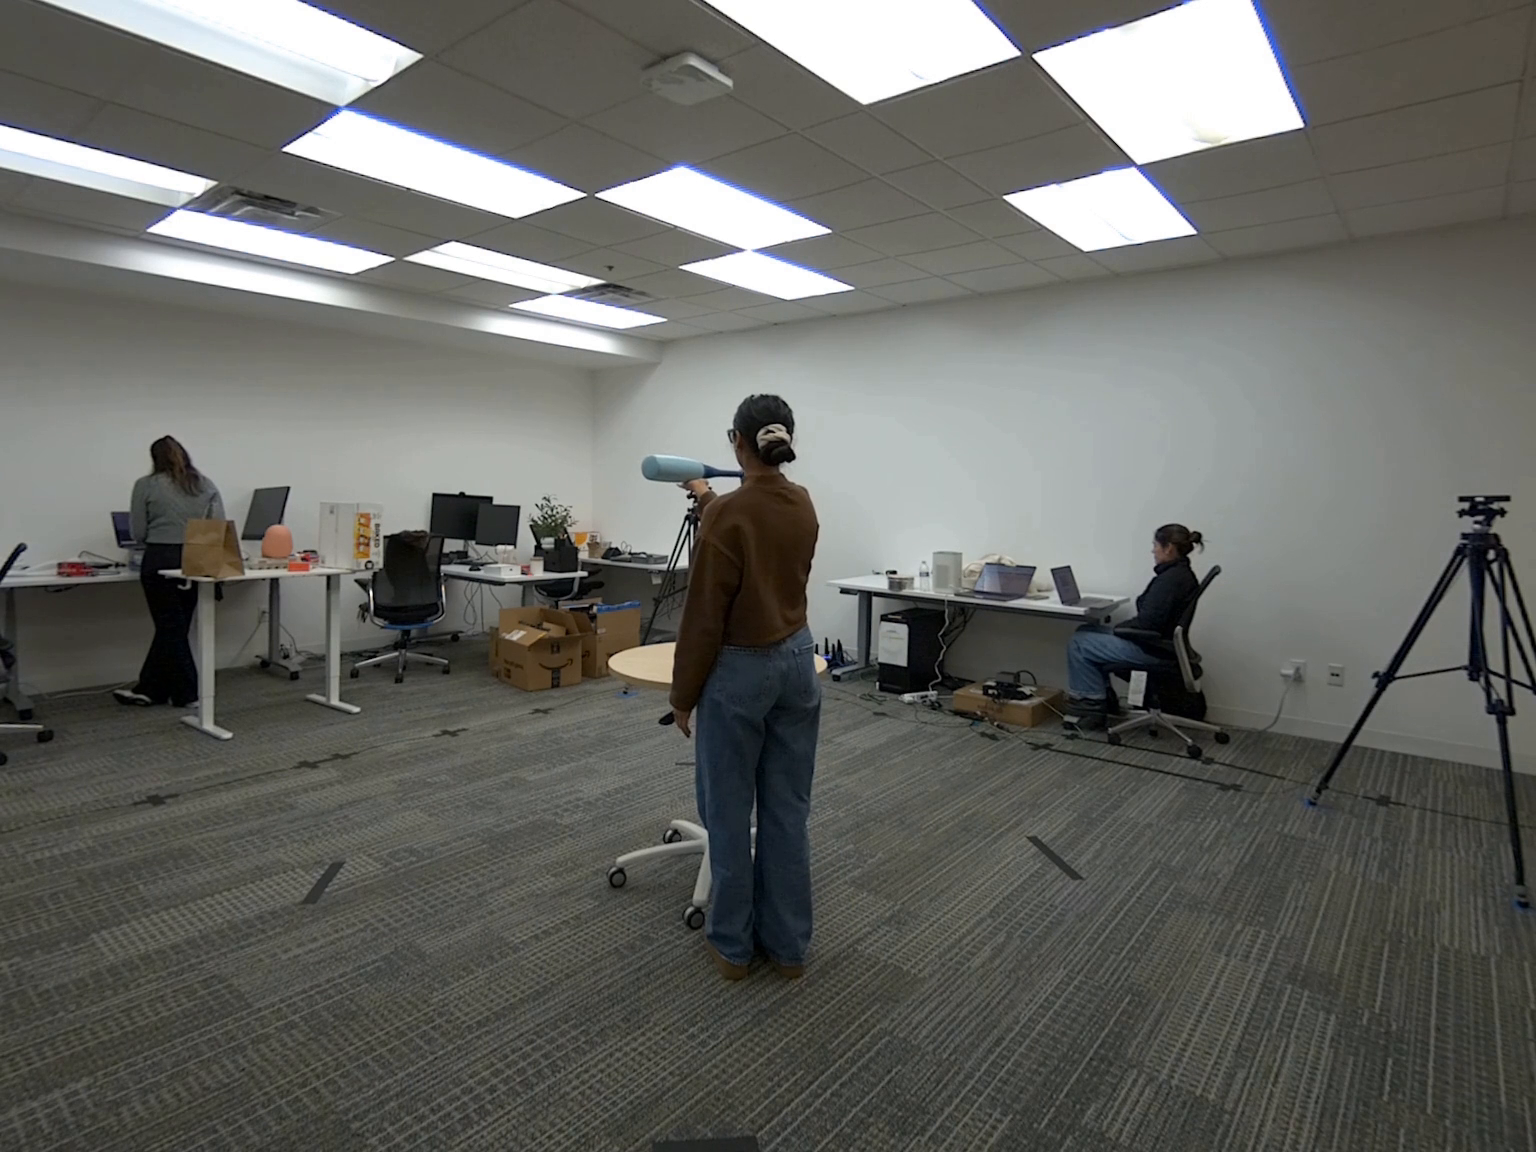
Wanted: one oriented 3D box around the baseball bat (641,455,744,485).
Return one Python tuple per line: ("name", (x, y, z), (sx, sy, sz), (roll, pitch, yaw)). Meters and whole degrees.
("baseball bat", (-0.248, -0.373, 3.003), (0.092, 0.089, 0.527), (4, 5, 35))
